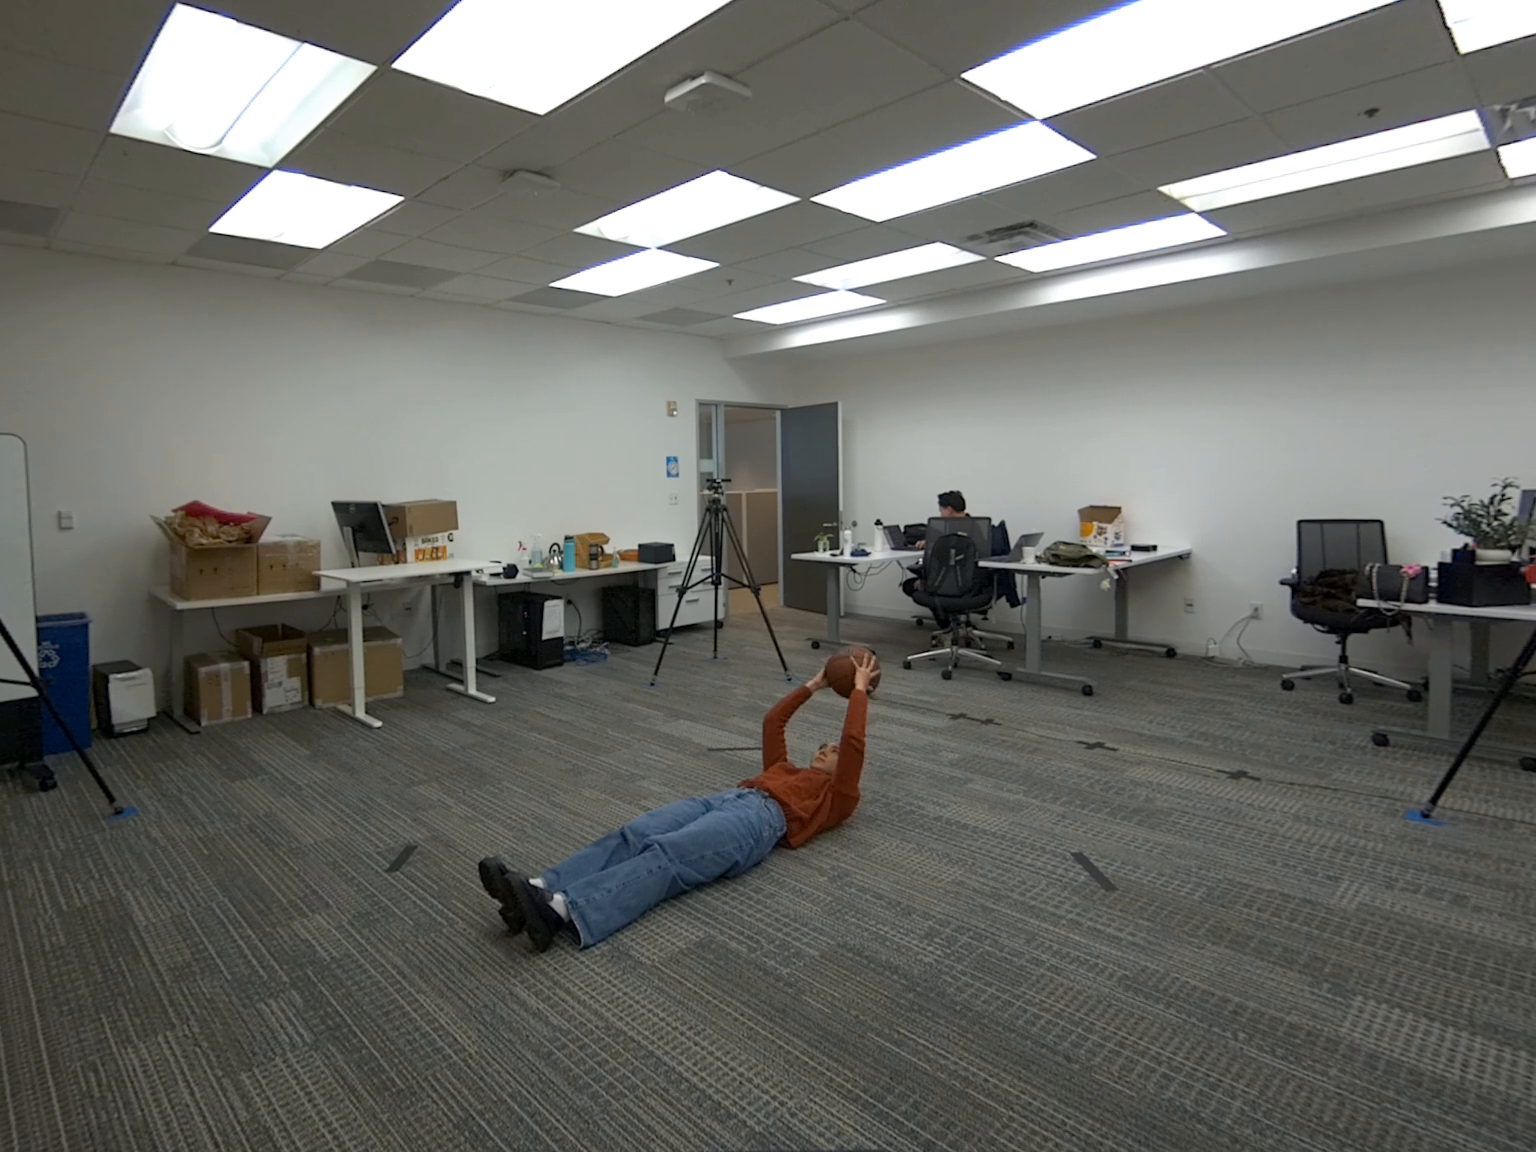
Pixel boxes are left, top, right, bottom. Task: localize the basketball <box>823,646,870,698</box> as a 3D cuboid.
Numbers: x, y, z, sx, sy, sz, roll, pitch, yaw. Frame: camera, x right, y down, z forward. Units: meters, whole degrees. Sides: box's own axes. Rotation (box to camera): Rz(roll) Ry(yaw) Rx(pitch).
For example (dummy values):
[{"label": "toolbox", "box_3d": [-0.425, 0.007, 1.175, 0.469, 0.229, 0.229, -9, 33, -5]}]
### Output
[{"label": "basketball", "box_3d": [0.363, 0.430, 3.738, 0.236, 0.236, 0.236, 0, 1, -2]}]
